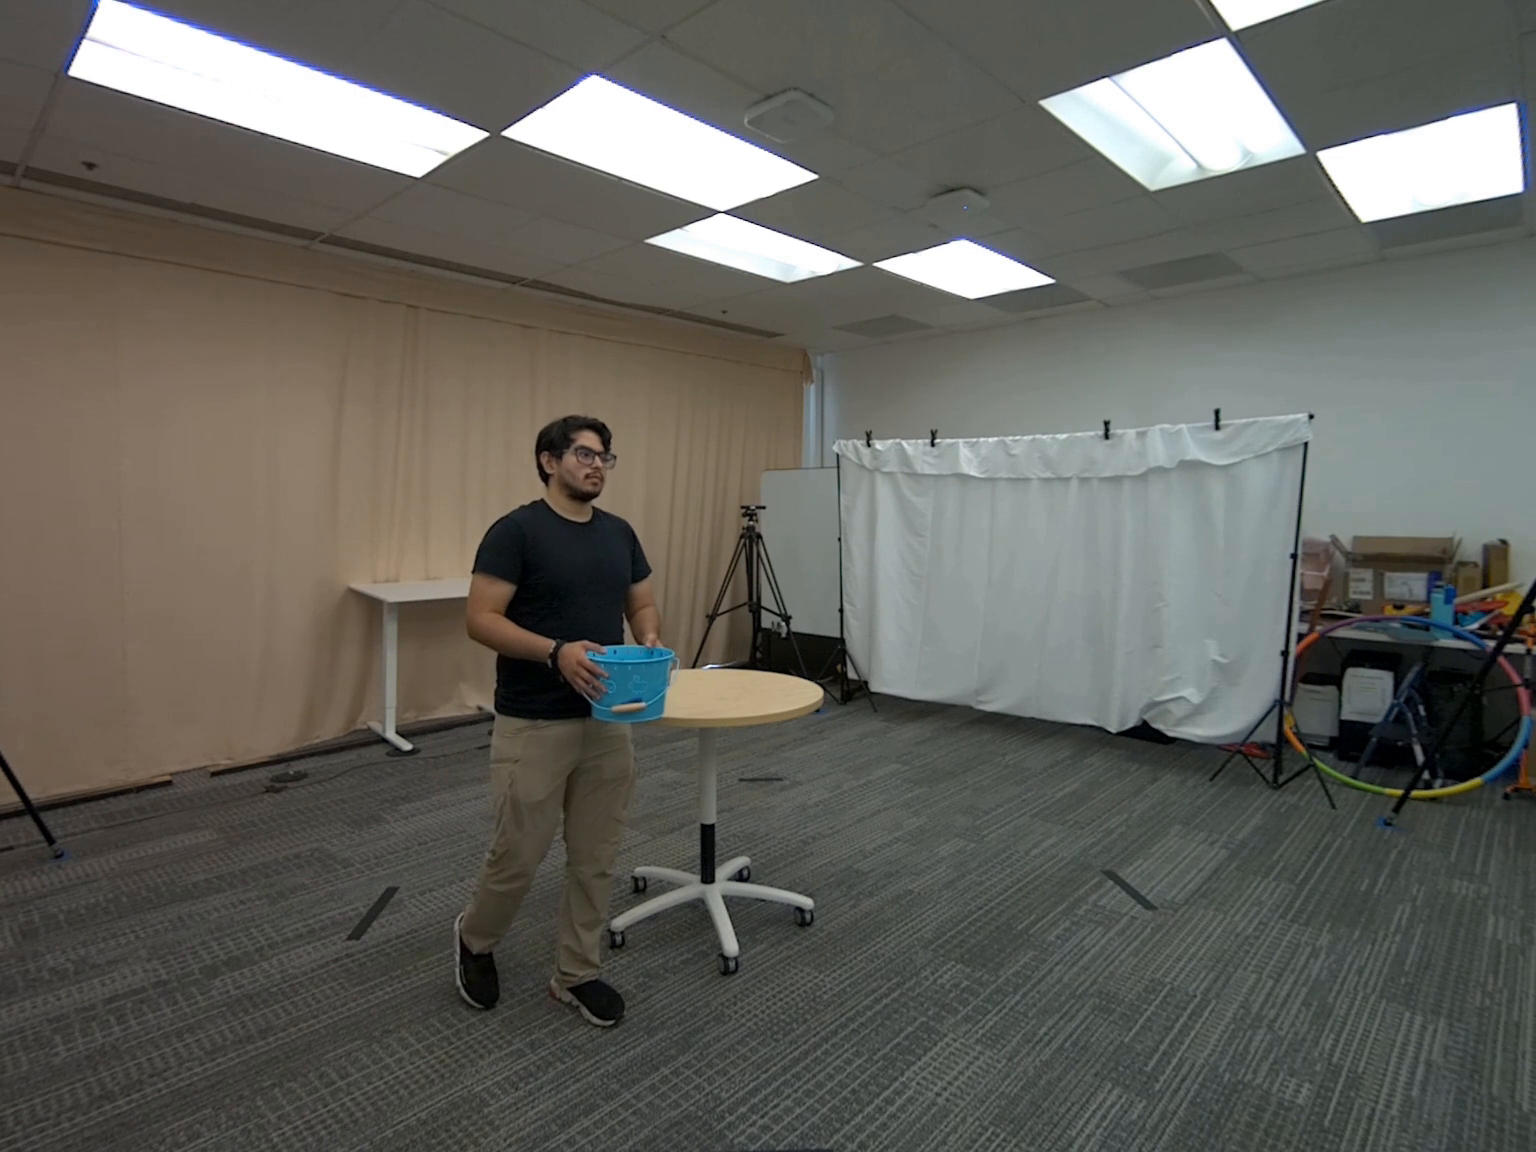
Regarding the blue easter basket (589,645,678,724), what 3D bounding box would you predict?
[{"bbox_3d":[-0.371,0.274,2.071,0.243,0.155,0.244,1,5,-2],"label":"blue easter basket"}]
